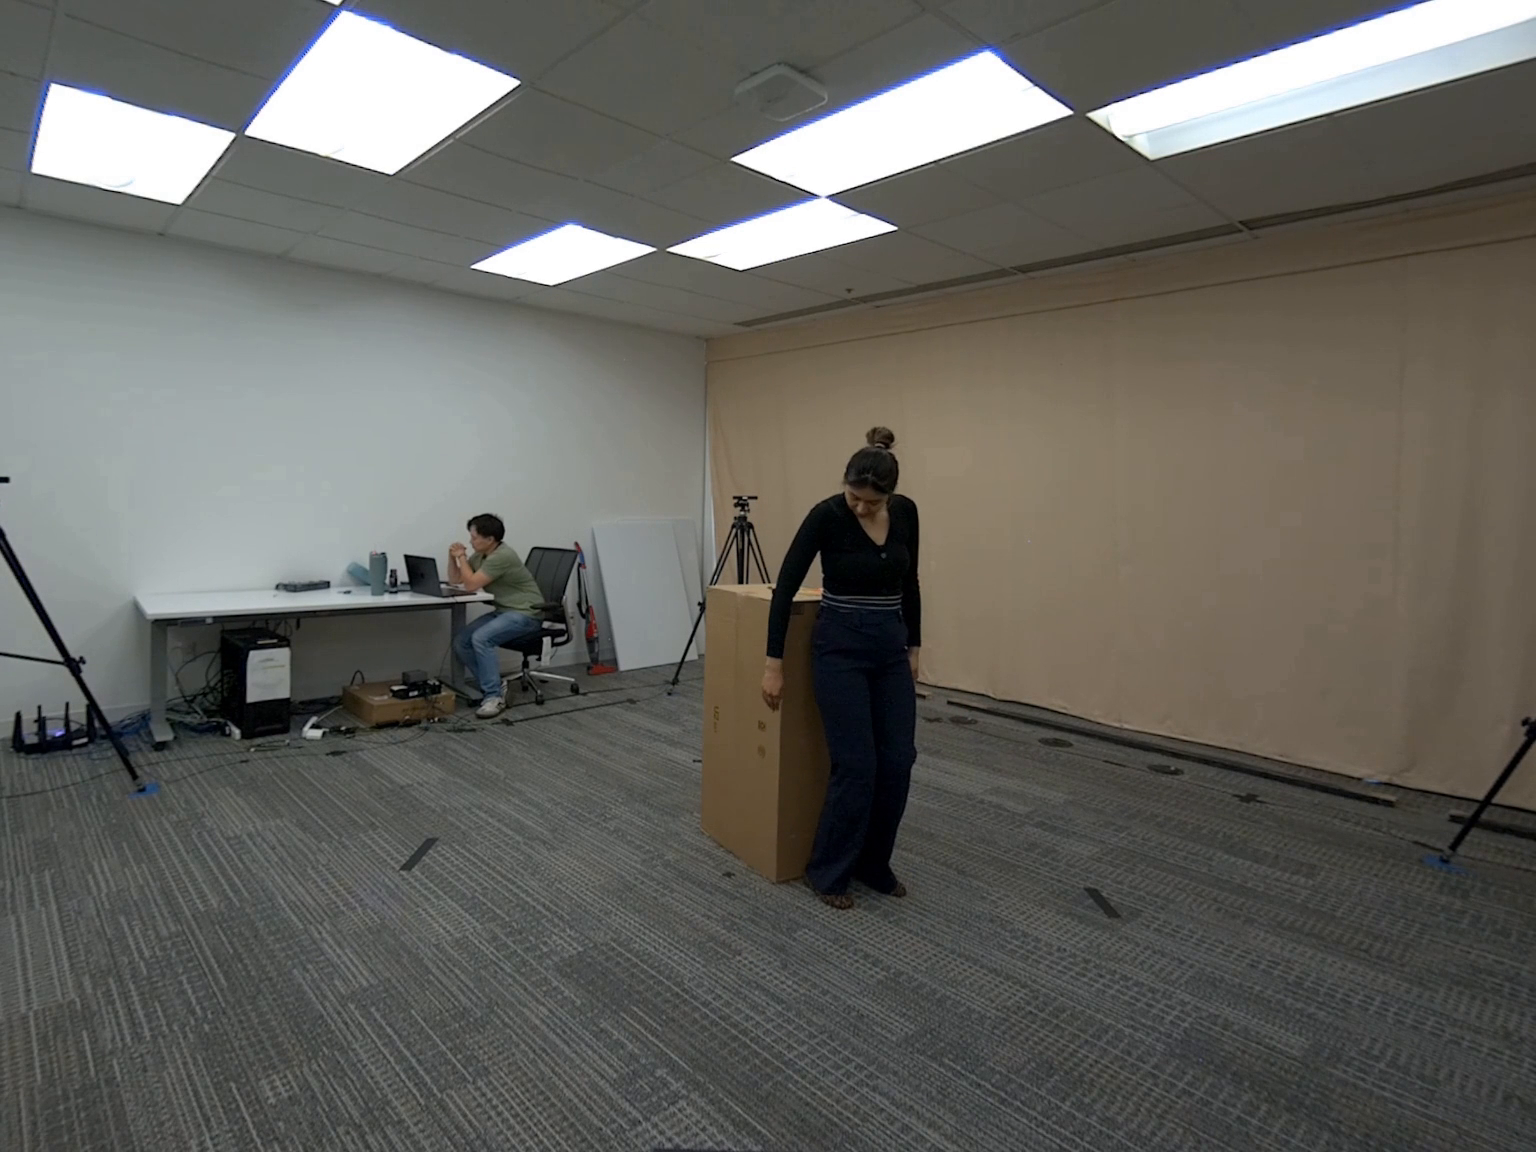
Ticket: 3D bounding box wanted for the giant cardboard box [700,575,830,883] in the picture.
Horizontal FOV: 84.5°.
[{"bbox_3d":[0.051,0.576,3.363,0.417,1.024,0.591,0,3,-32],"label":"giant cardboard box"}]
